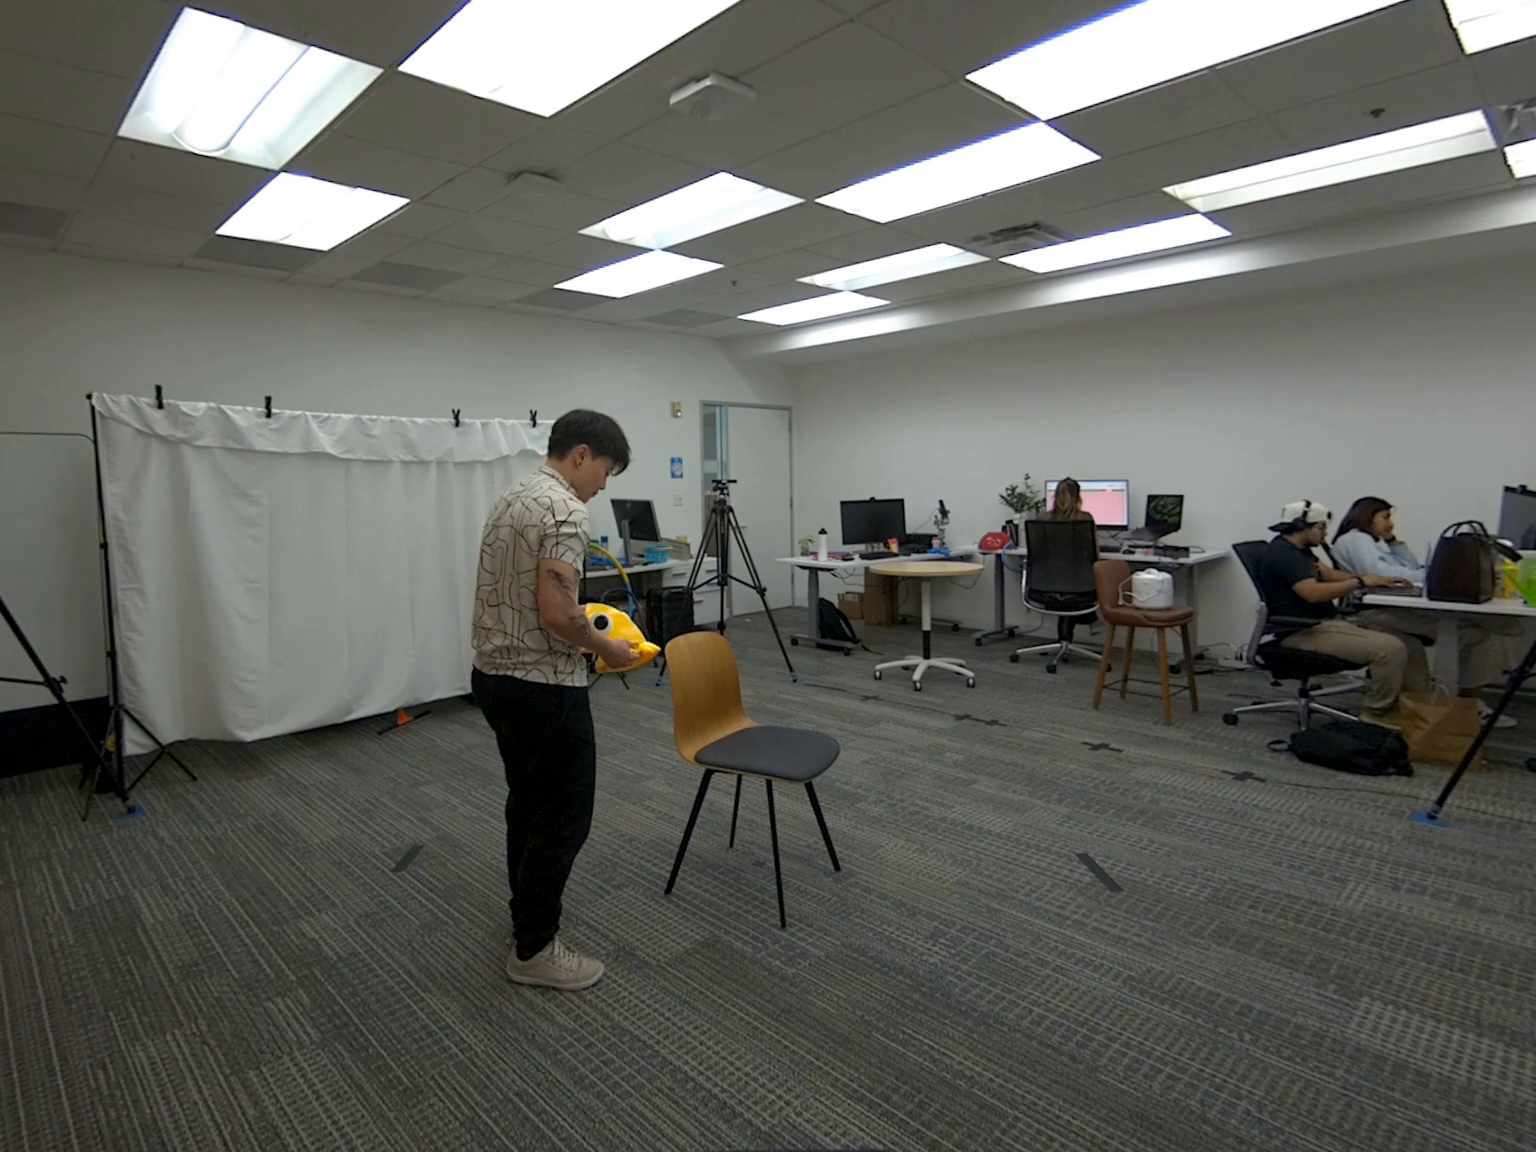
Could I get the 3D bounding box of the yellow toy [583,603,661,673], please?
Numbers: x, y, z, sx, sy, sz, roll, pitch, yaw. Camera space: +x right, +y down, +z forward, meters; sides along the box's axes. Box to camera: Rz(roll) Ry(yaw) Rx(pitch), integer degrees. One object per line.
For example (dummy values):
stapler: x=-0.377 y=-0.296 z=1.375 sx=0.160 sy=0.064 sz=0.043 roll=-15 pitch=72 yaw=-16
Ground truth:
yellow toy: x=-0.476 y=0.165 z=2.613 sx=0.194 sy=0.236 sz=0.199 roll=-31 pitch=-19 yaw=24
